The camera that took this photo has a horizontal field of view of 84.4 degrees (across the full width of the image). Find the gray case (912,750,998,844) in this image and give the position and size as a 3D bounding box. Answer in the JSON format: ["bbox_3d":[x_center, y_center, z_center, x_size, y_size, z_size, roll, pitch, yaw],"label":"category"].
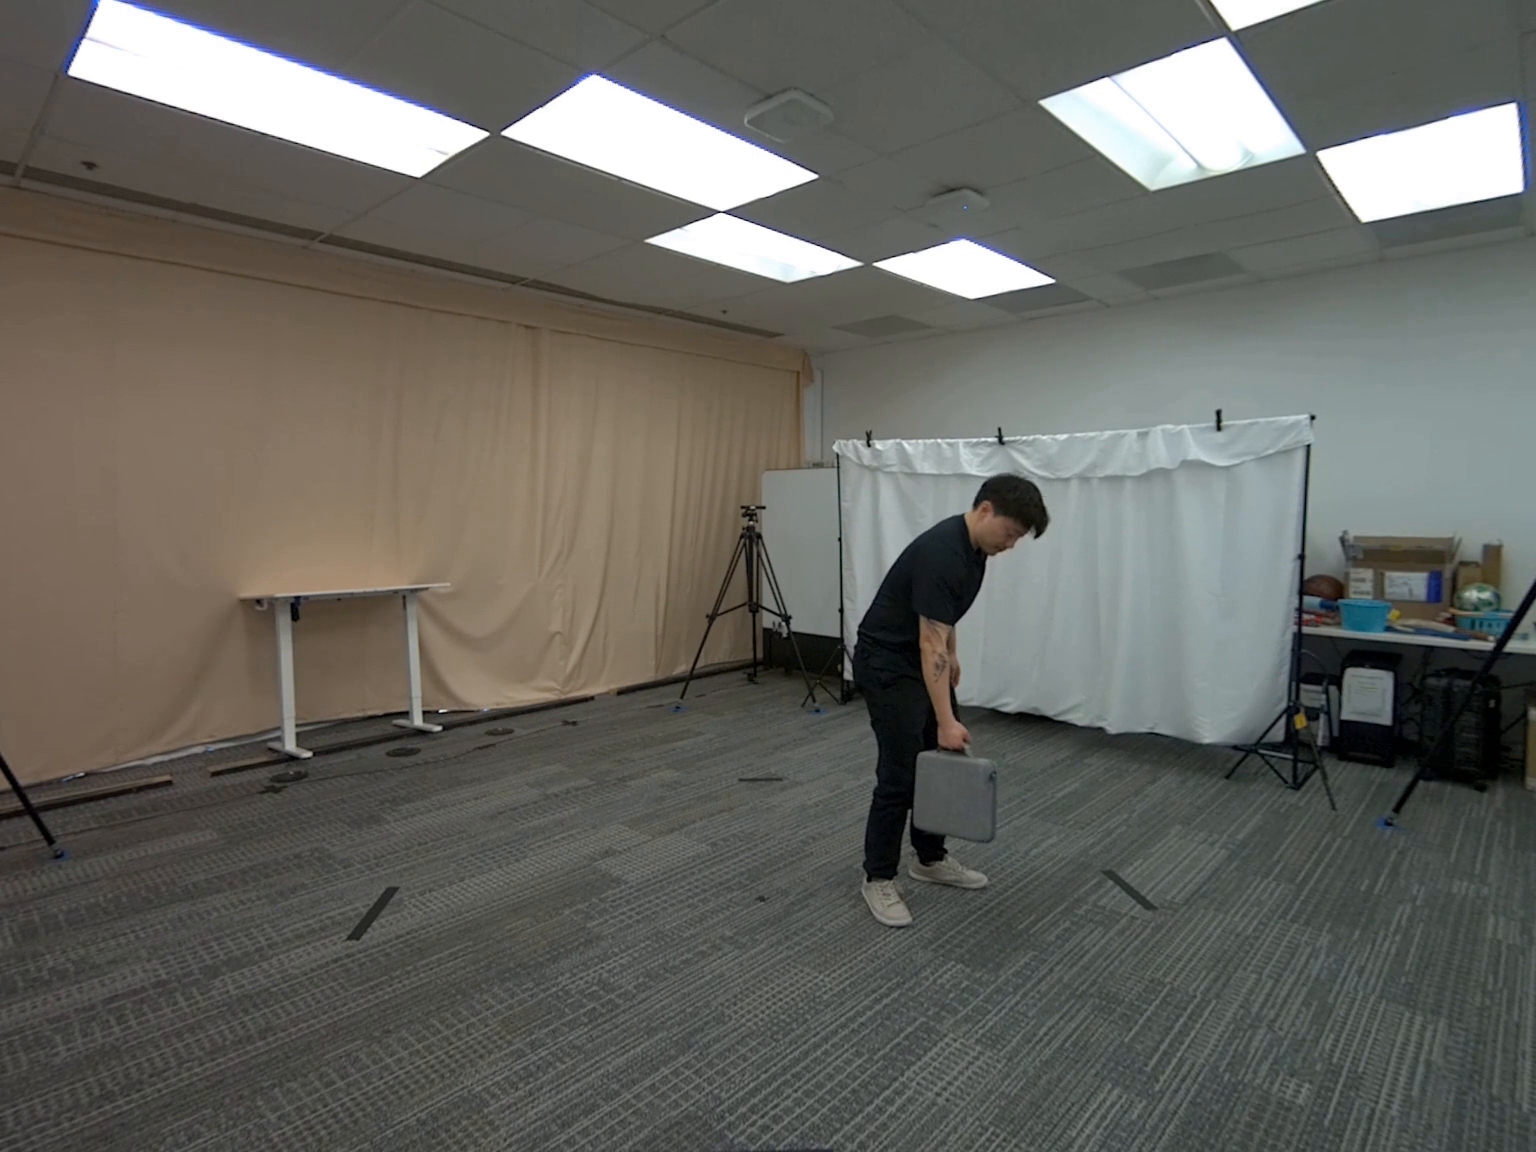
[{"bbox_3d":[0.597,0.689,2.679,0.101,0.261,0.265,7,-8,-43],"label":"gray case"}]
